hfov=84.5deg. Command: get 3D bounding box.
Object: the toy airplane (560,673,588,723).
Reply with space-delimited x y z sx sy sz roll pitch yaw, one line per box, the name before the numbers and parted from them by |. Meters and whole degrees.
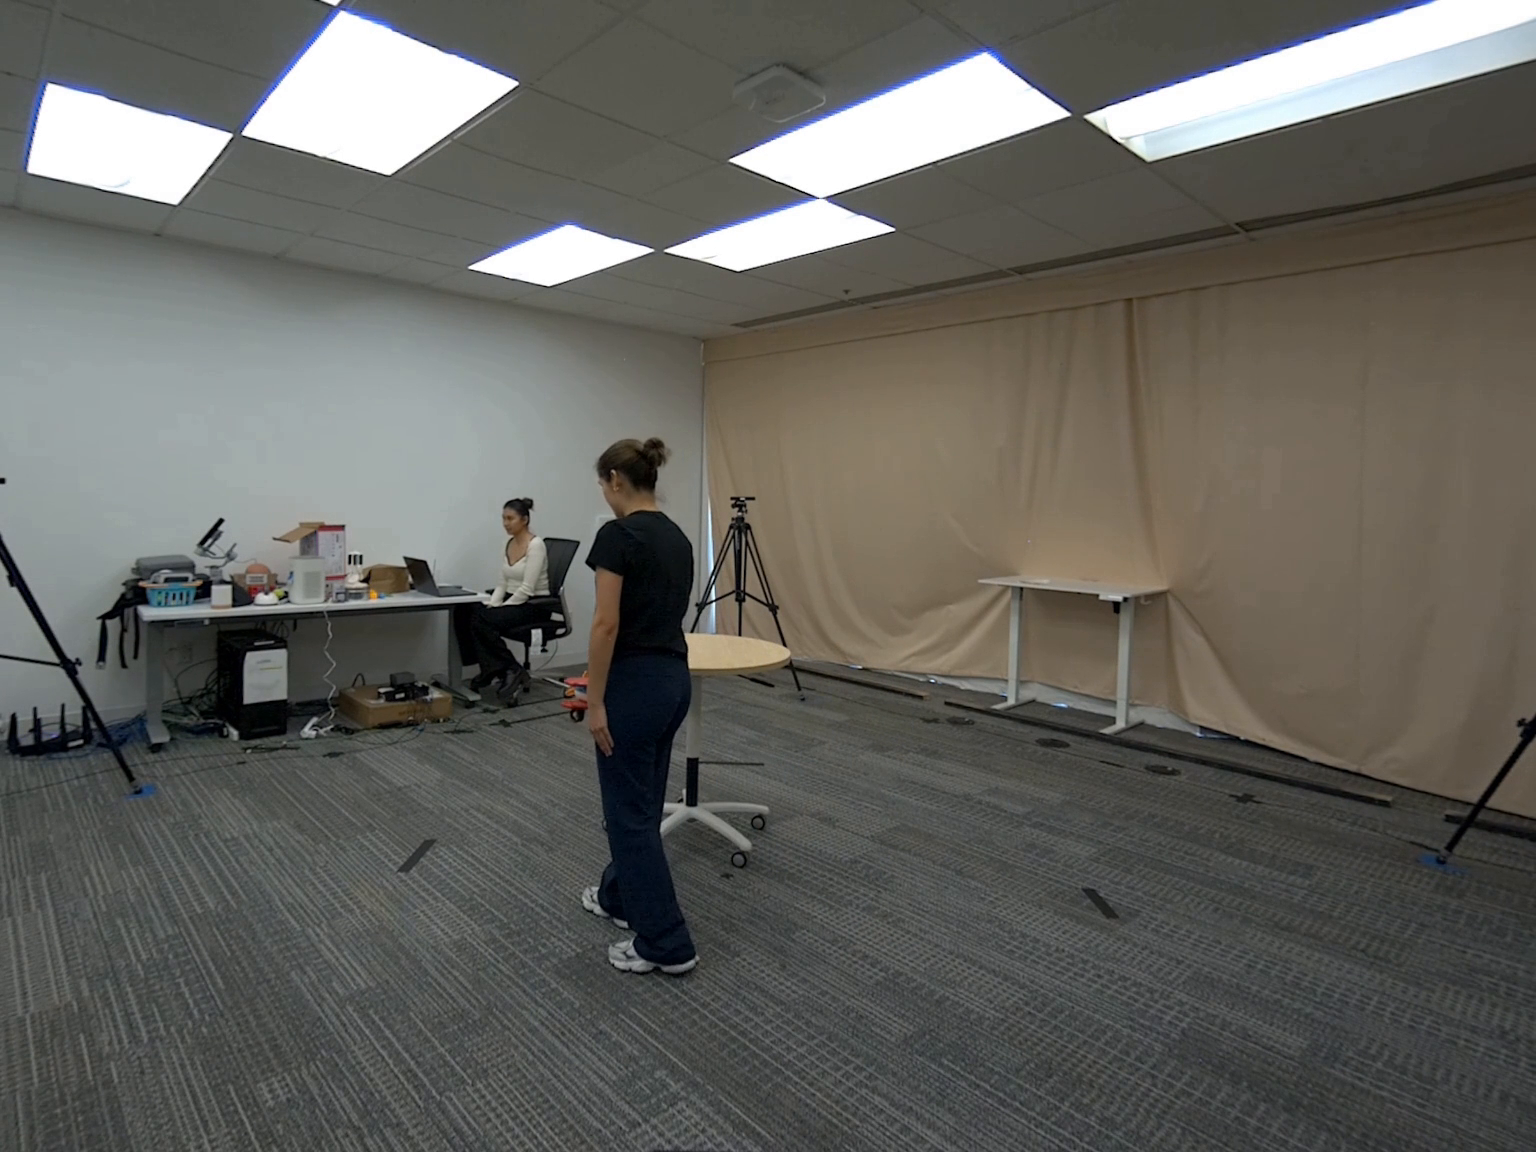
toy airplane | -0.587 0.437 2.946 0.261 0.158 0.247 -6 -10 12
